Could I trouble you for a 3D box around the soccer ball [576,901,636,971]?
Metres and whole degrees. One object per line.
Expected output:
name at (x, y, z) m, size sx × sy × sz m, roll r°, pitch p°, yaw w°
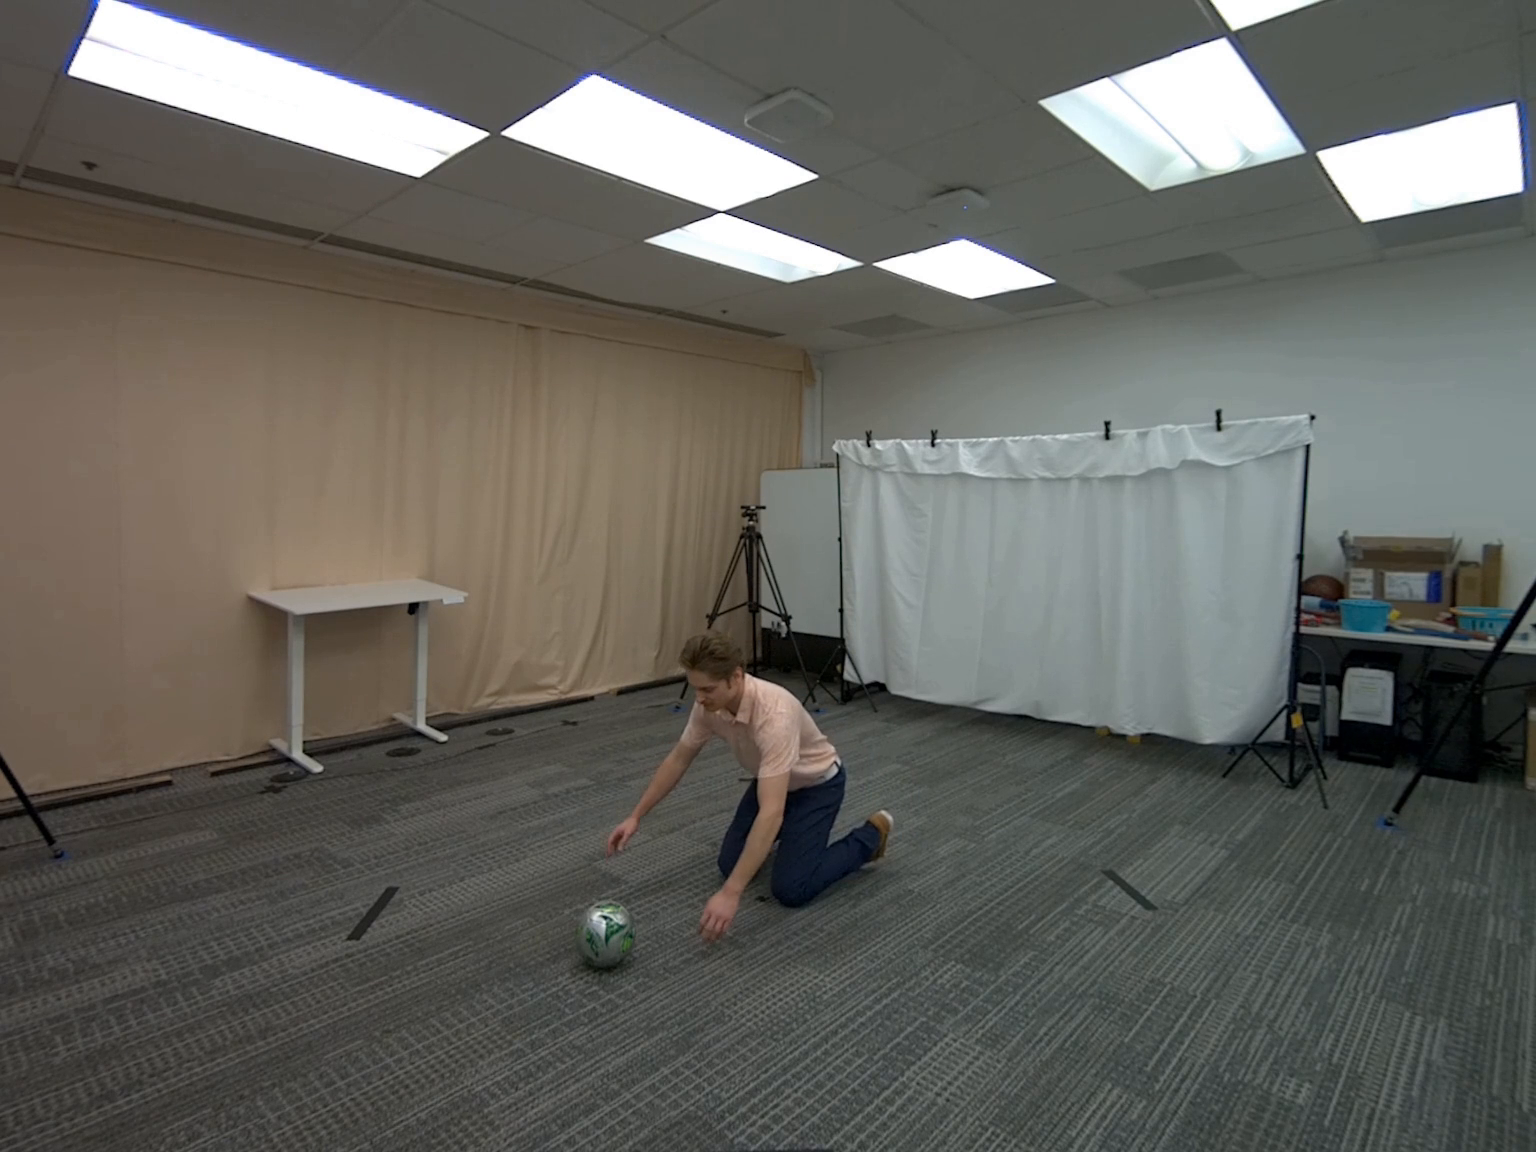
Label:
soccer ball at (-0.493, 1.088, 2.557) m, size 0.187 × 0.187 × 0.188 m, roll 0°, pitch 4°, yaw -2°
